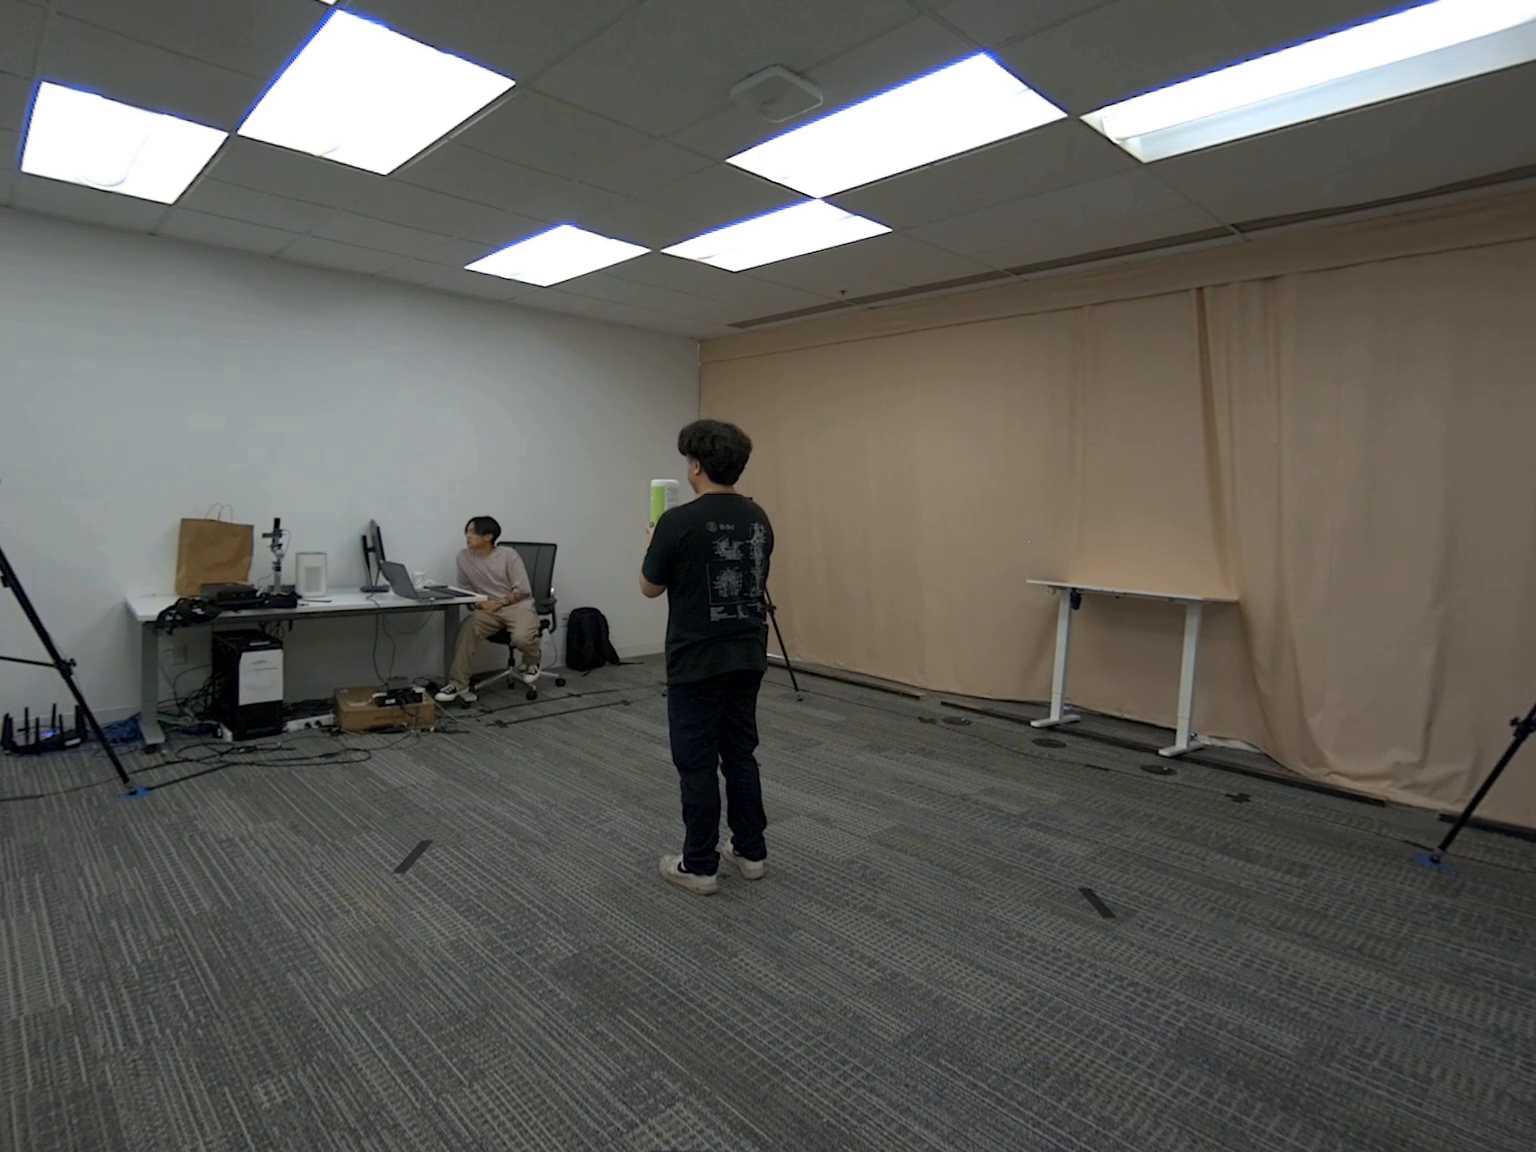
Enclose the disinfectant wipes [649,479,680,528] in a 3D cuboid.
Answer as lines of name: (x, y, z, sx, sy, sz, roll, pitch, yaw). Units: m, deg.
disinfectant wipes: (-0.406, -0.267, 3.306, 0.118, 0.217, 0.118, 1, 2, -1)
